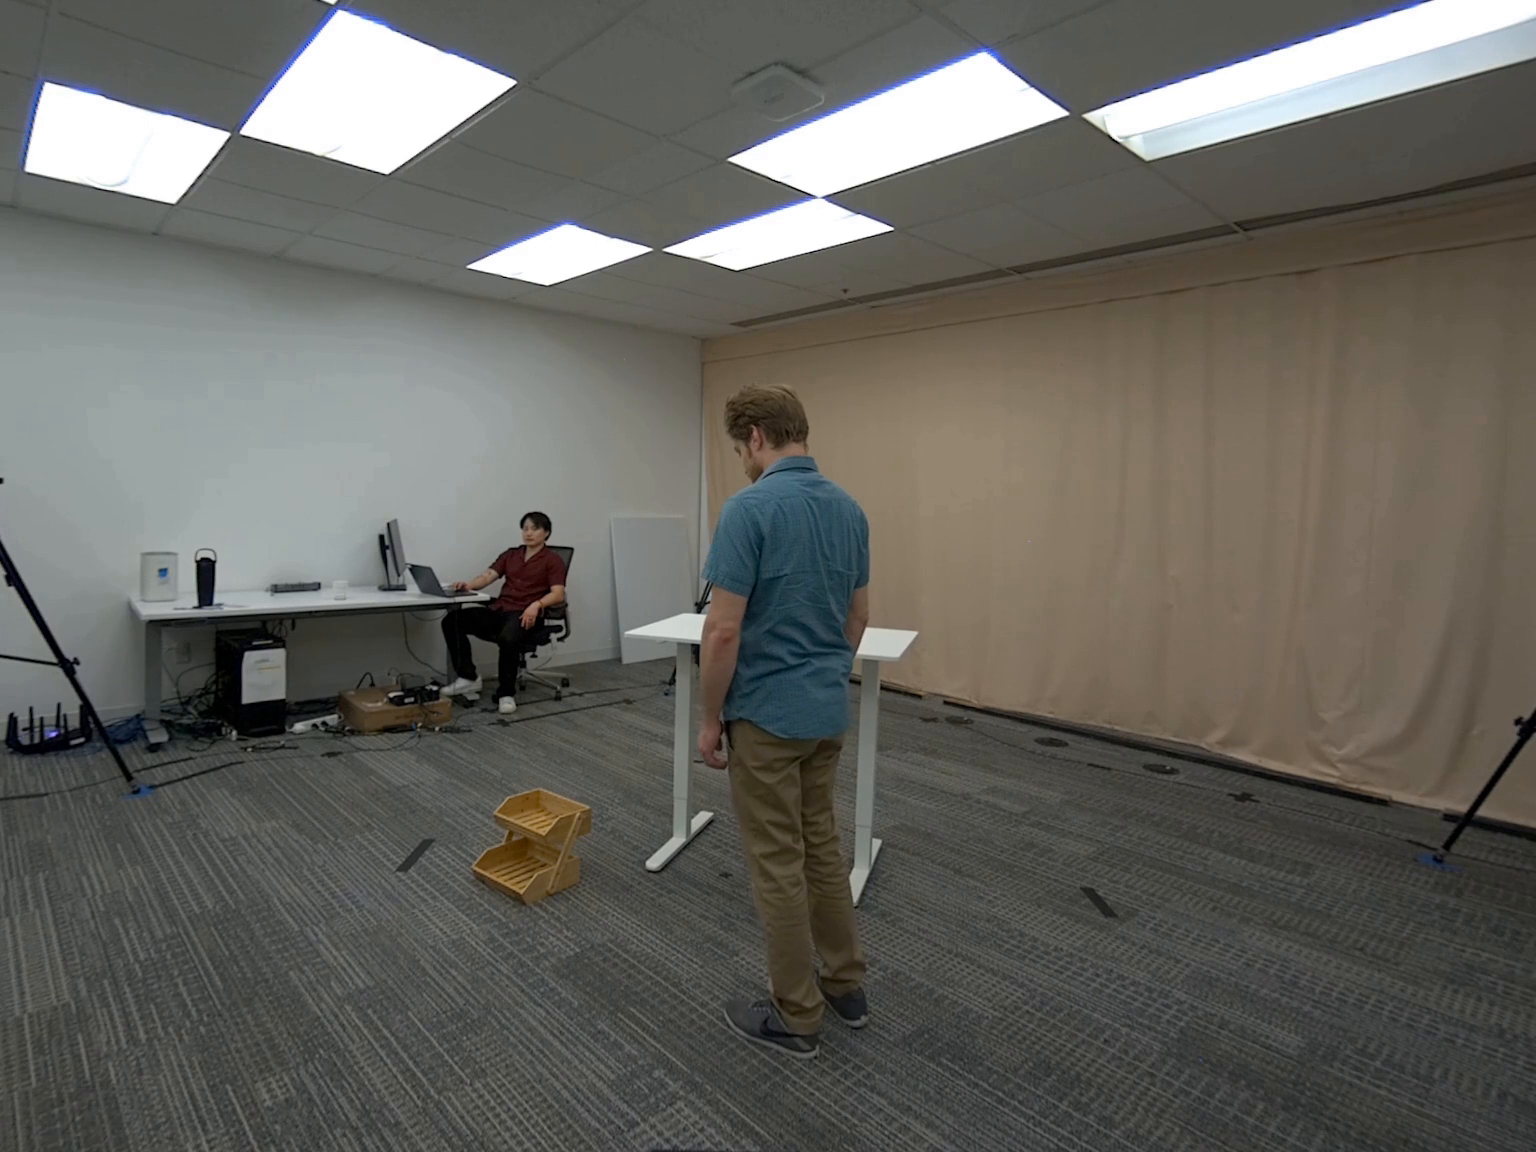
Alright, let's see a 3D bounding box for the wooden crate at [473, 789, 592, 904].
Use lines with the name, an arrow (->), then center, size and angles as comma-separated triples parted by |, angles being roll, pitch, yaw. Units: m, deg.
wooden crate -> -0.863, 0.964, 3.028 | 0.332, 0.272, 0.295 | 5, 5, 38
